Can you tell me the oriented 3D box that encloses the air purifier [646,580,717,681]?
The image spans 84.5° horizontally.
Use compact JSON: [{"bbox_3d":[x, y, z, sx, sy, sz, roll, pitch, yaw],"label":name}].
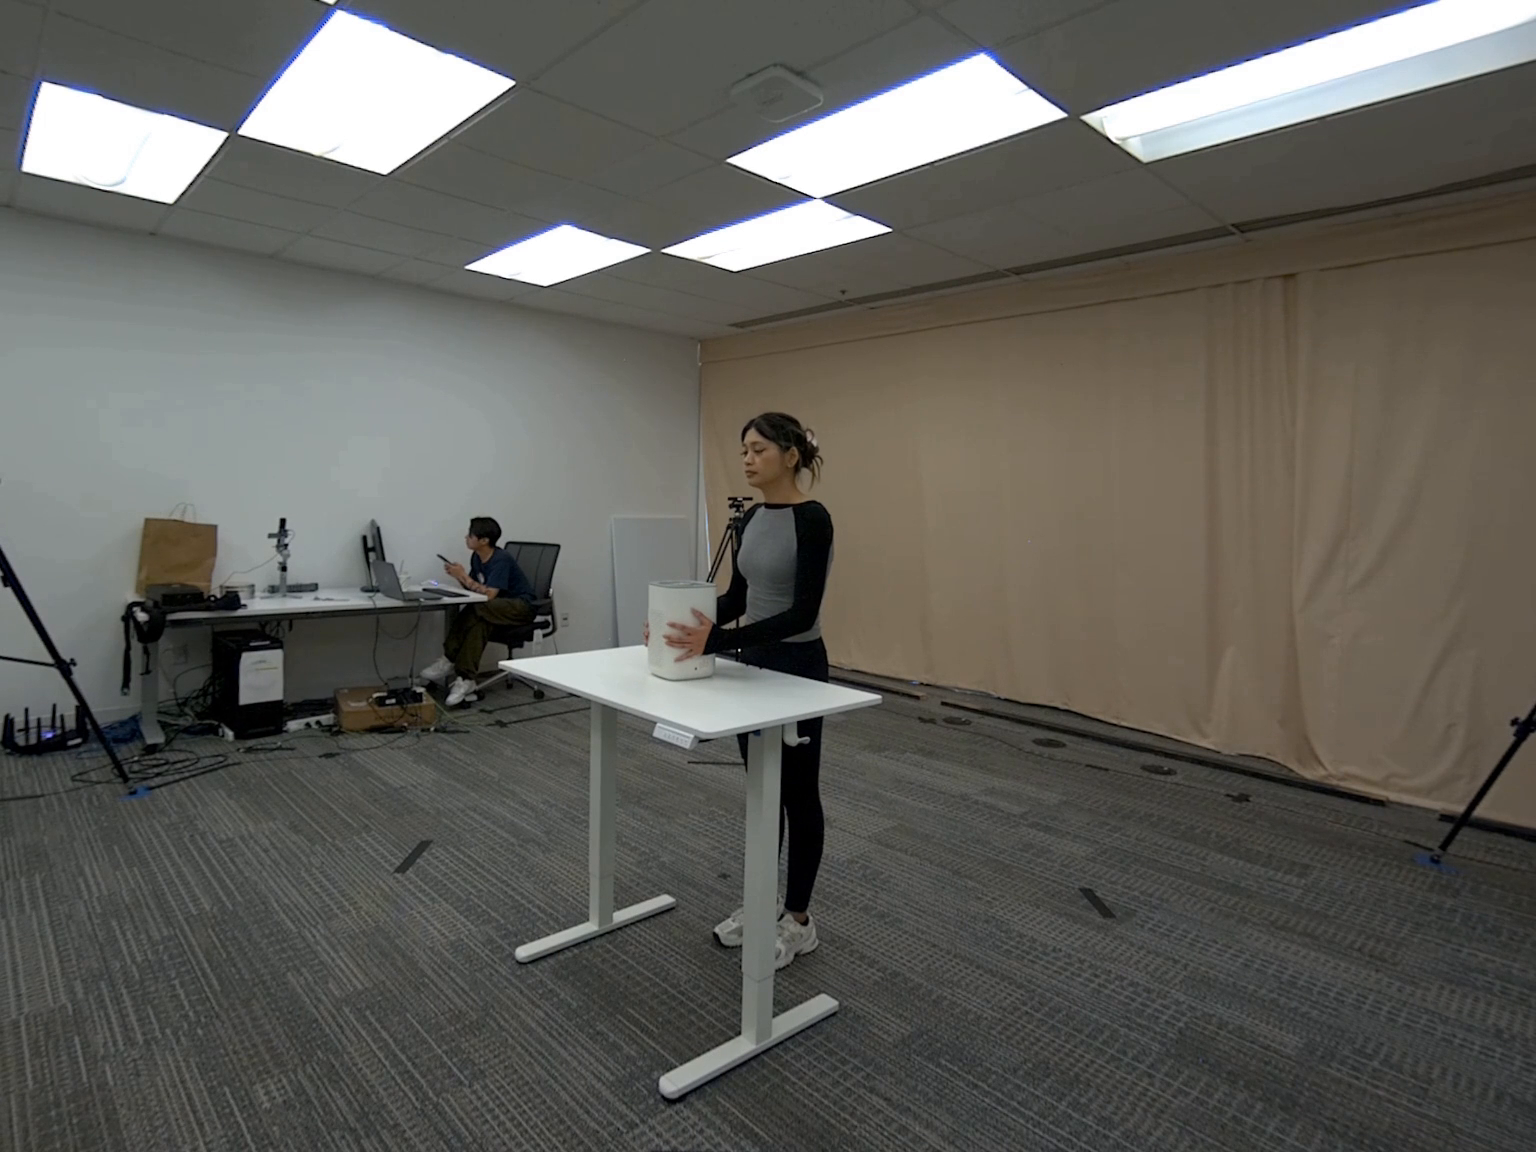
[{"bbox_3d":[-0.249,0.154,2.407,0.167,0.265,0.176,0,3,-34],"label":"air purifier"}]
